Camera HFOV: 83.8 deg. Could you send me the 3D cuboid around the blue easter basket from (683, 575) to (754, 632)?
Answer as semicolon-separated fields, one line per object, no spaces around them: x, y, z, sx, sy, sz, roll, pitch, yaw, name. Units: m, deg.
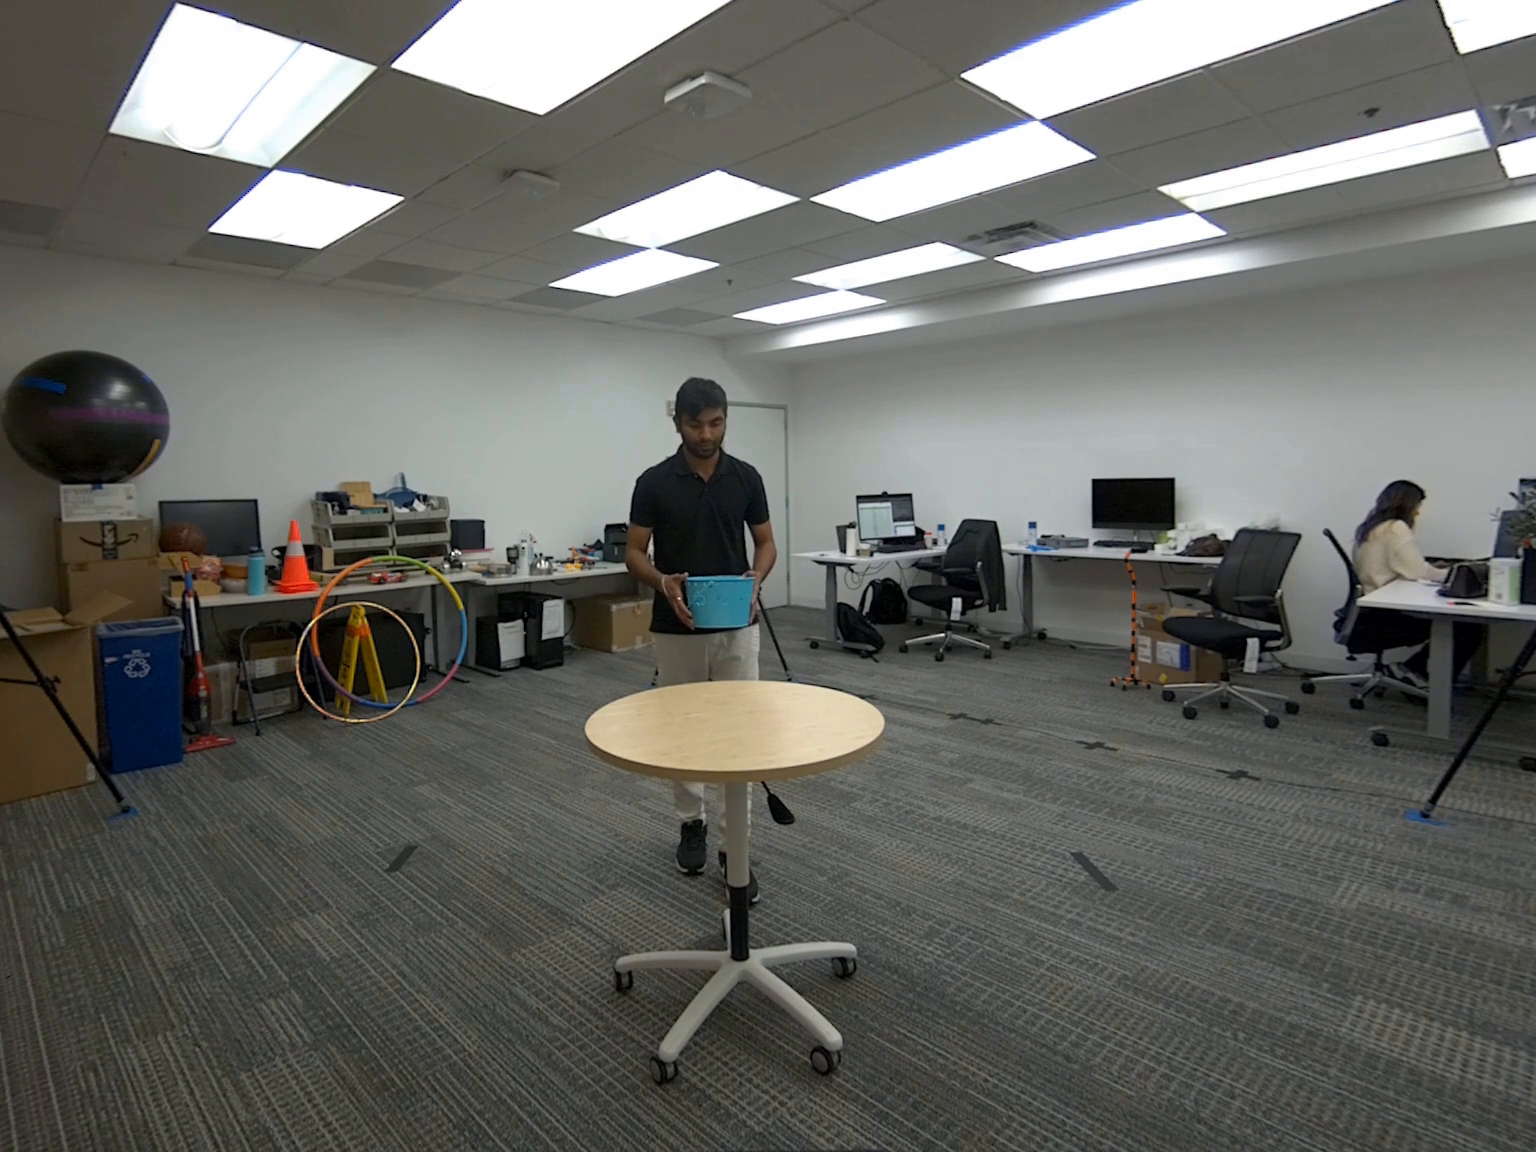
-0.145;0.076;2.754;0.243;0.155;0.244;-3;4;-1;blue easter basket
